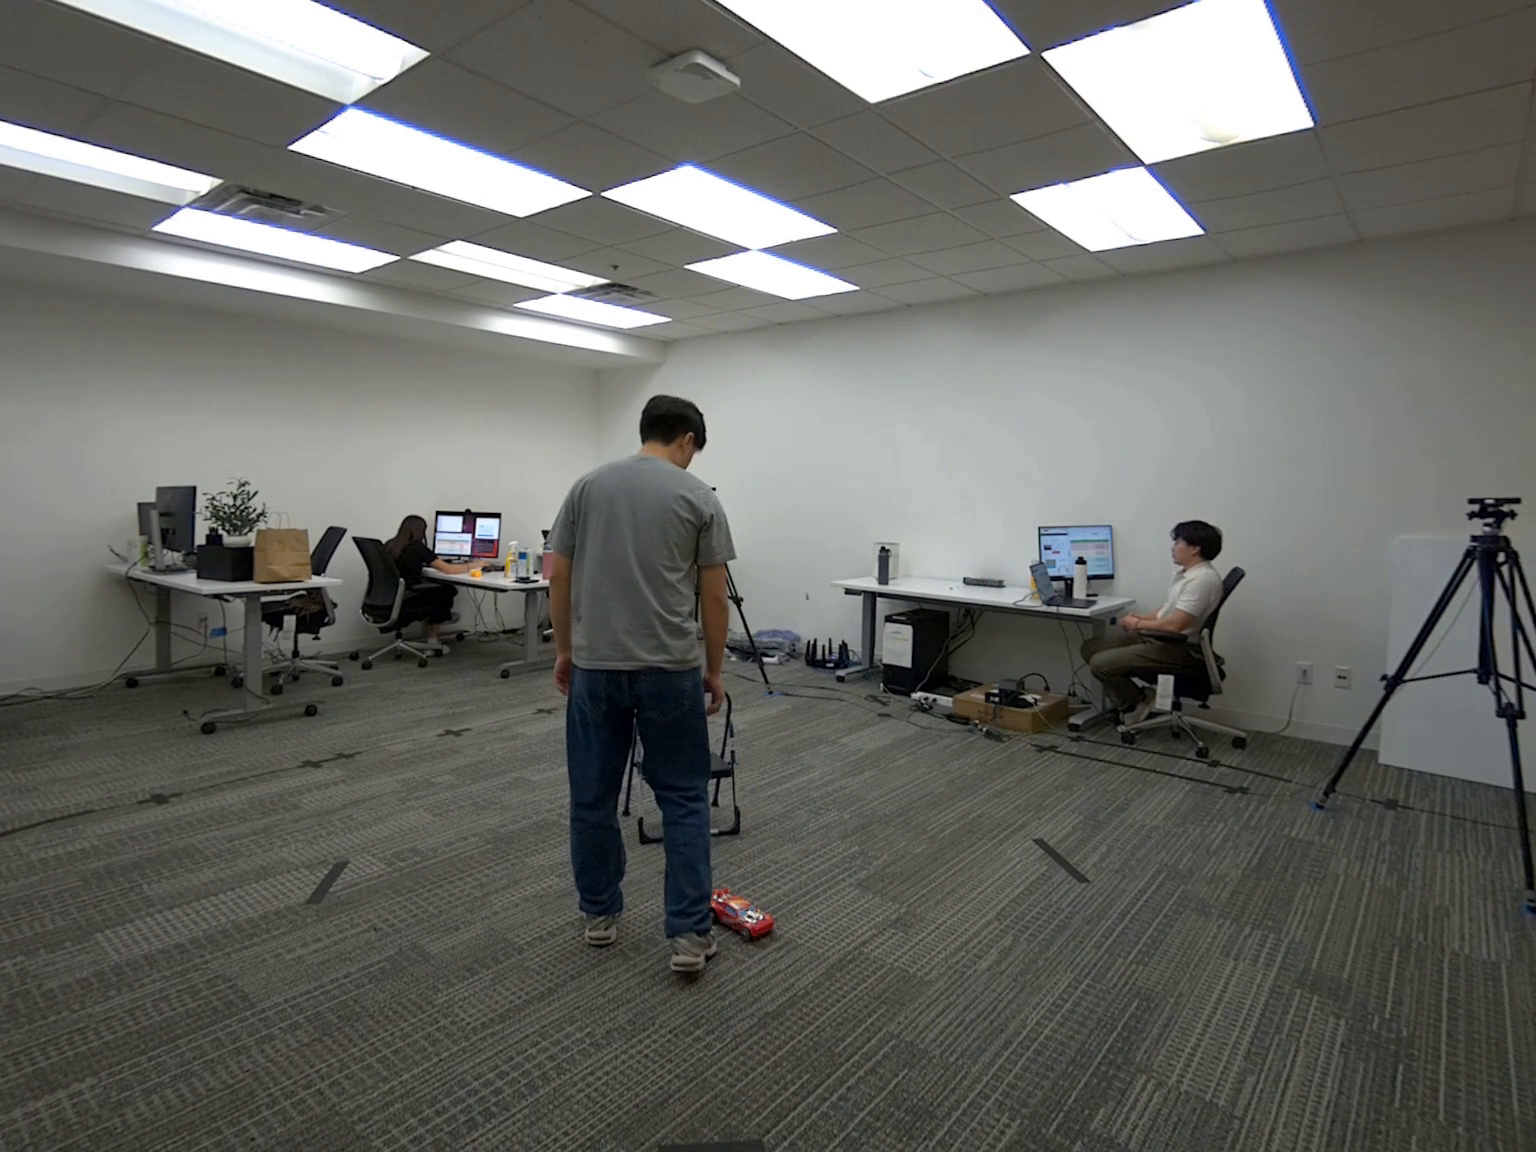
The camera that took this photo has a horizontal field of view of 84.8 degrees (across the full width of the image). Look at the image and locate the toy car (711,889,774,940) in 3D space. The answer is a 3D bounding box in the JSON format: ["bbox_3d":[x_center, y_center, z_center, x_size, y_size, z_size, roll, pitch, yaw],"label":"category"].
[{"bbox_3d":[-0.105,1.078,2.709,0.126,0.082,0.265,-3,17,-44],"label":"toy car"}]
